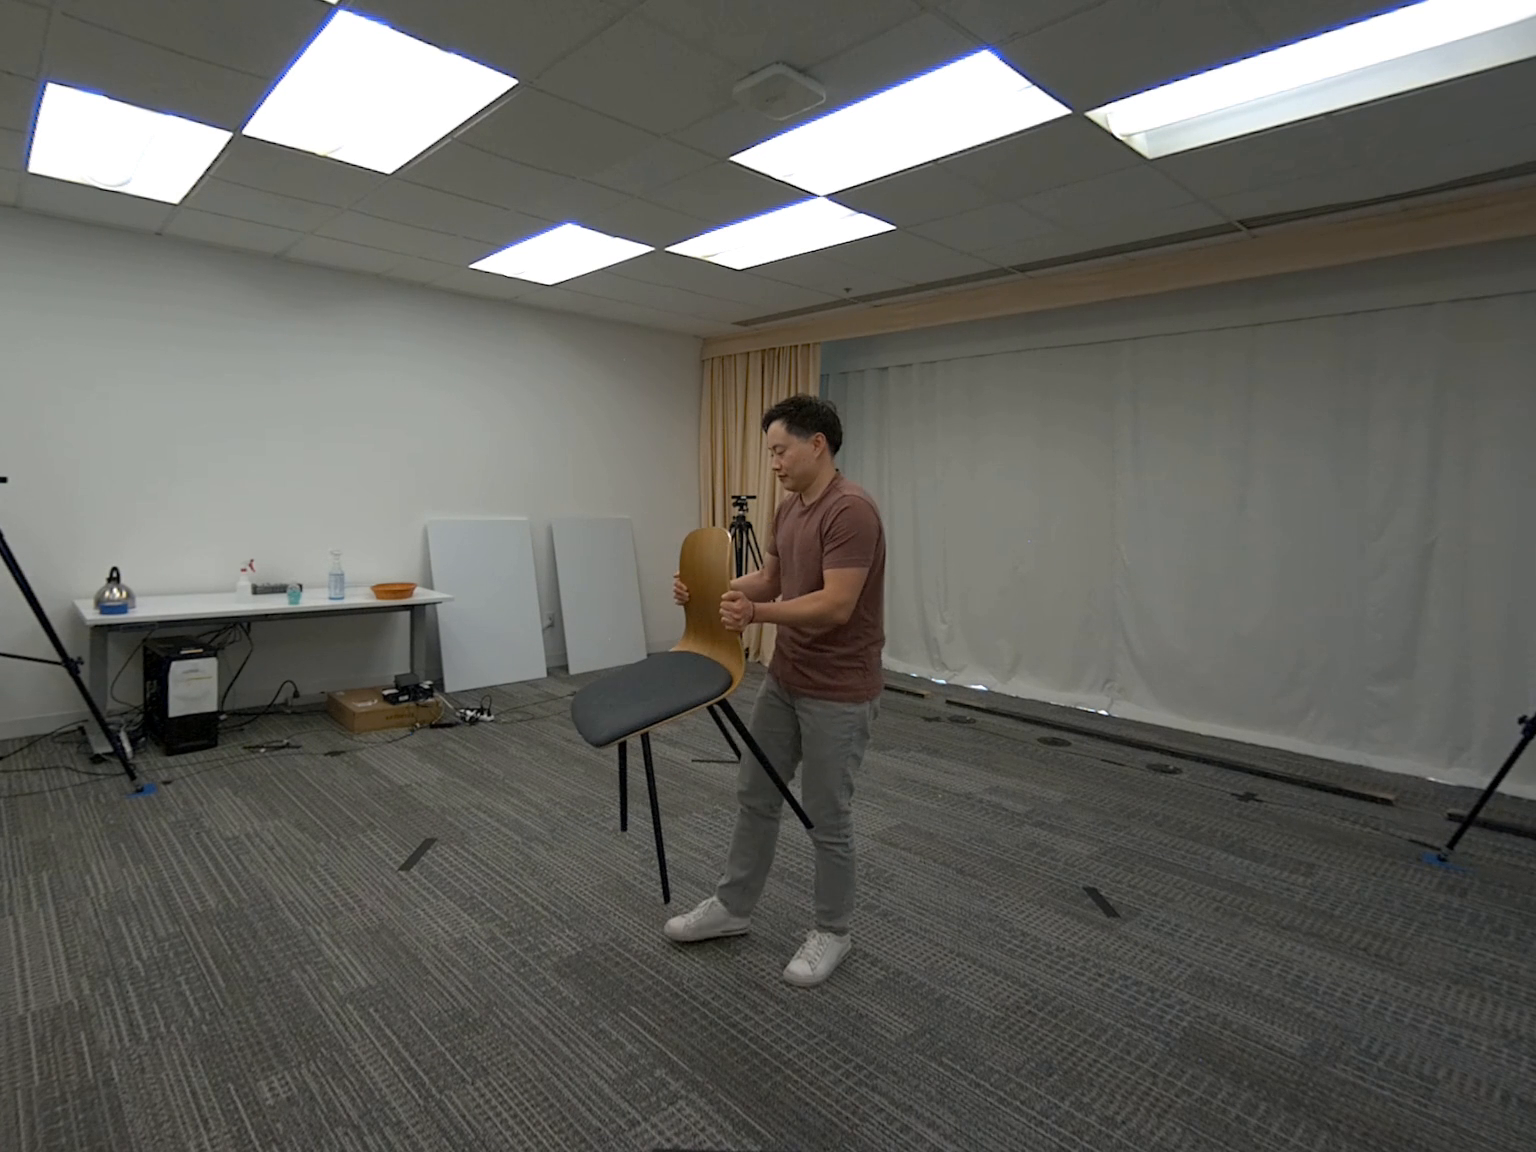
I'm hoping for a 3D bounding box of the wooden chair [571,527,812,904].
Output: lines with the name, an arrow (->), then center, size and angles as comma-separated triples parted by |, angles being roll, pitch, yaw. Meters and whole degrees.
wooden chair -> -0.285, 0.355, 2.358 | 0.517, 0.869, 0.488 | -15, 12, -21
